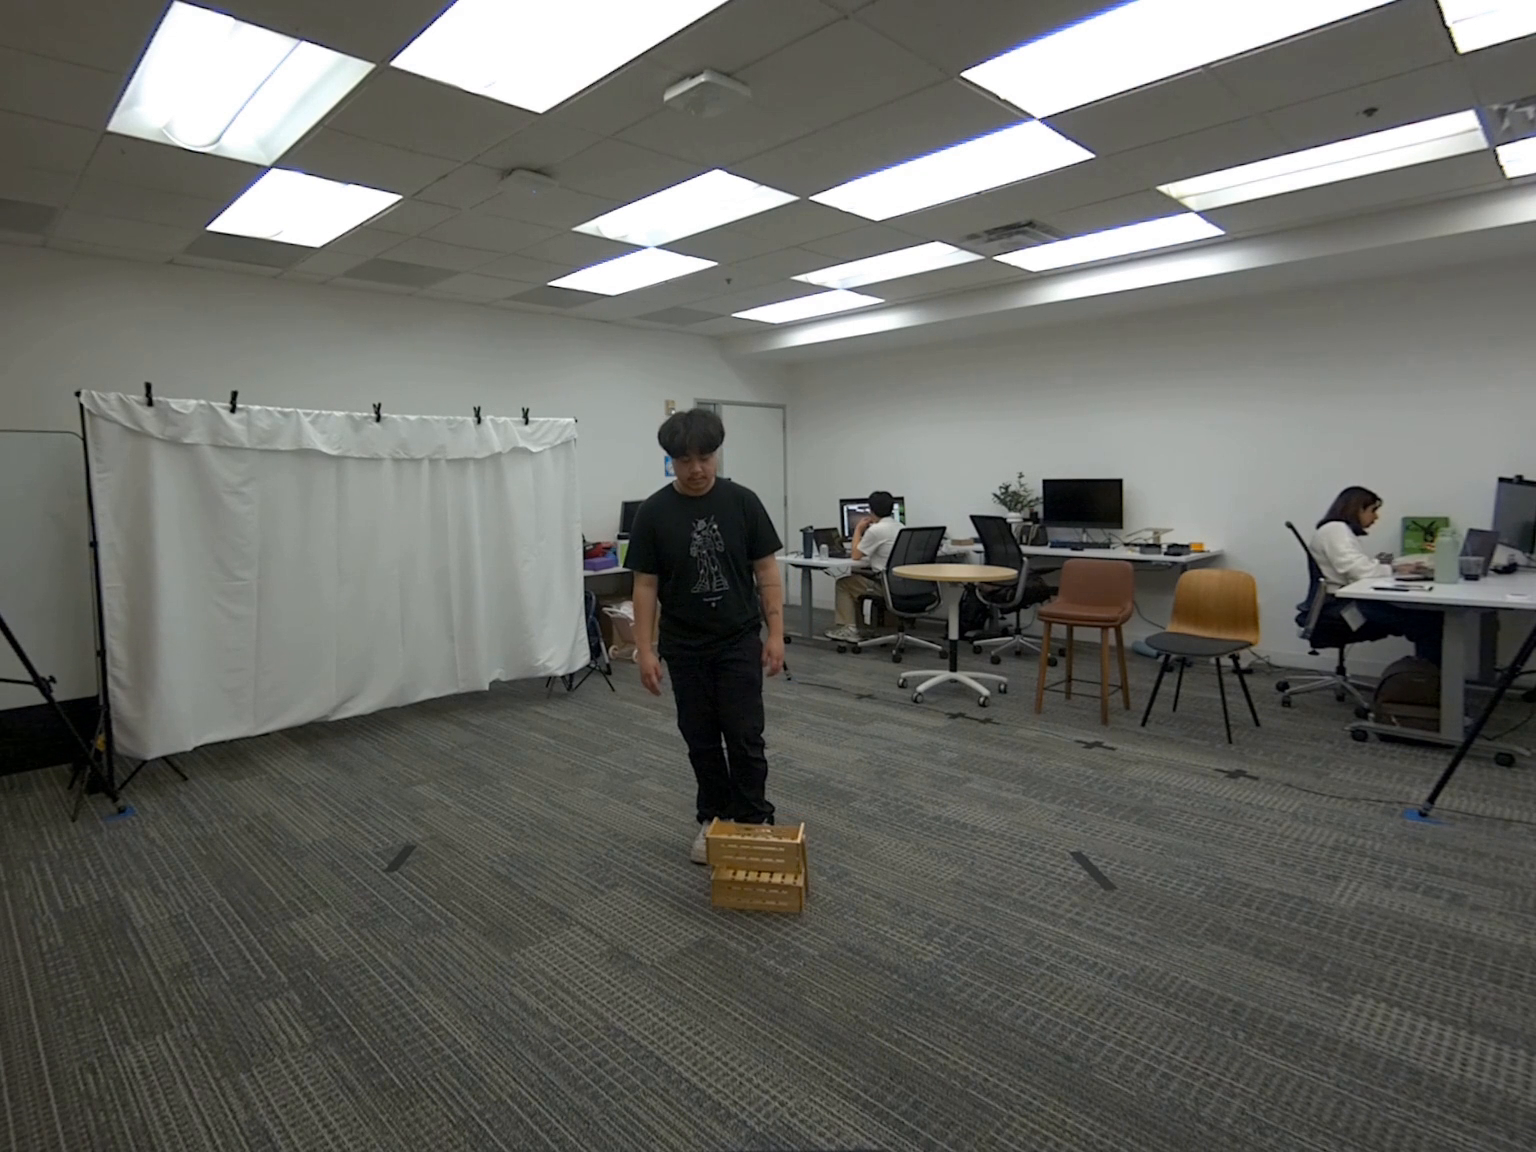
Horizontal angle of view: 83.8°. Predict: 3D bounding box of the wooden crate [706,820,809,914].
[{"bbox_3d":[-0.029,0.938,2.854,0.327,0.272,0.301,0,7,9],"label":"wooden crate"}]
